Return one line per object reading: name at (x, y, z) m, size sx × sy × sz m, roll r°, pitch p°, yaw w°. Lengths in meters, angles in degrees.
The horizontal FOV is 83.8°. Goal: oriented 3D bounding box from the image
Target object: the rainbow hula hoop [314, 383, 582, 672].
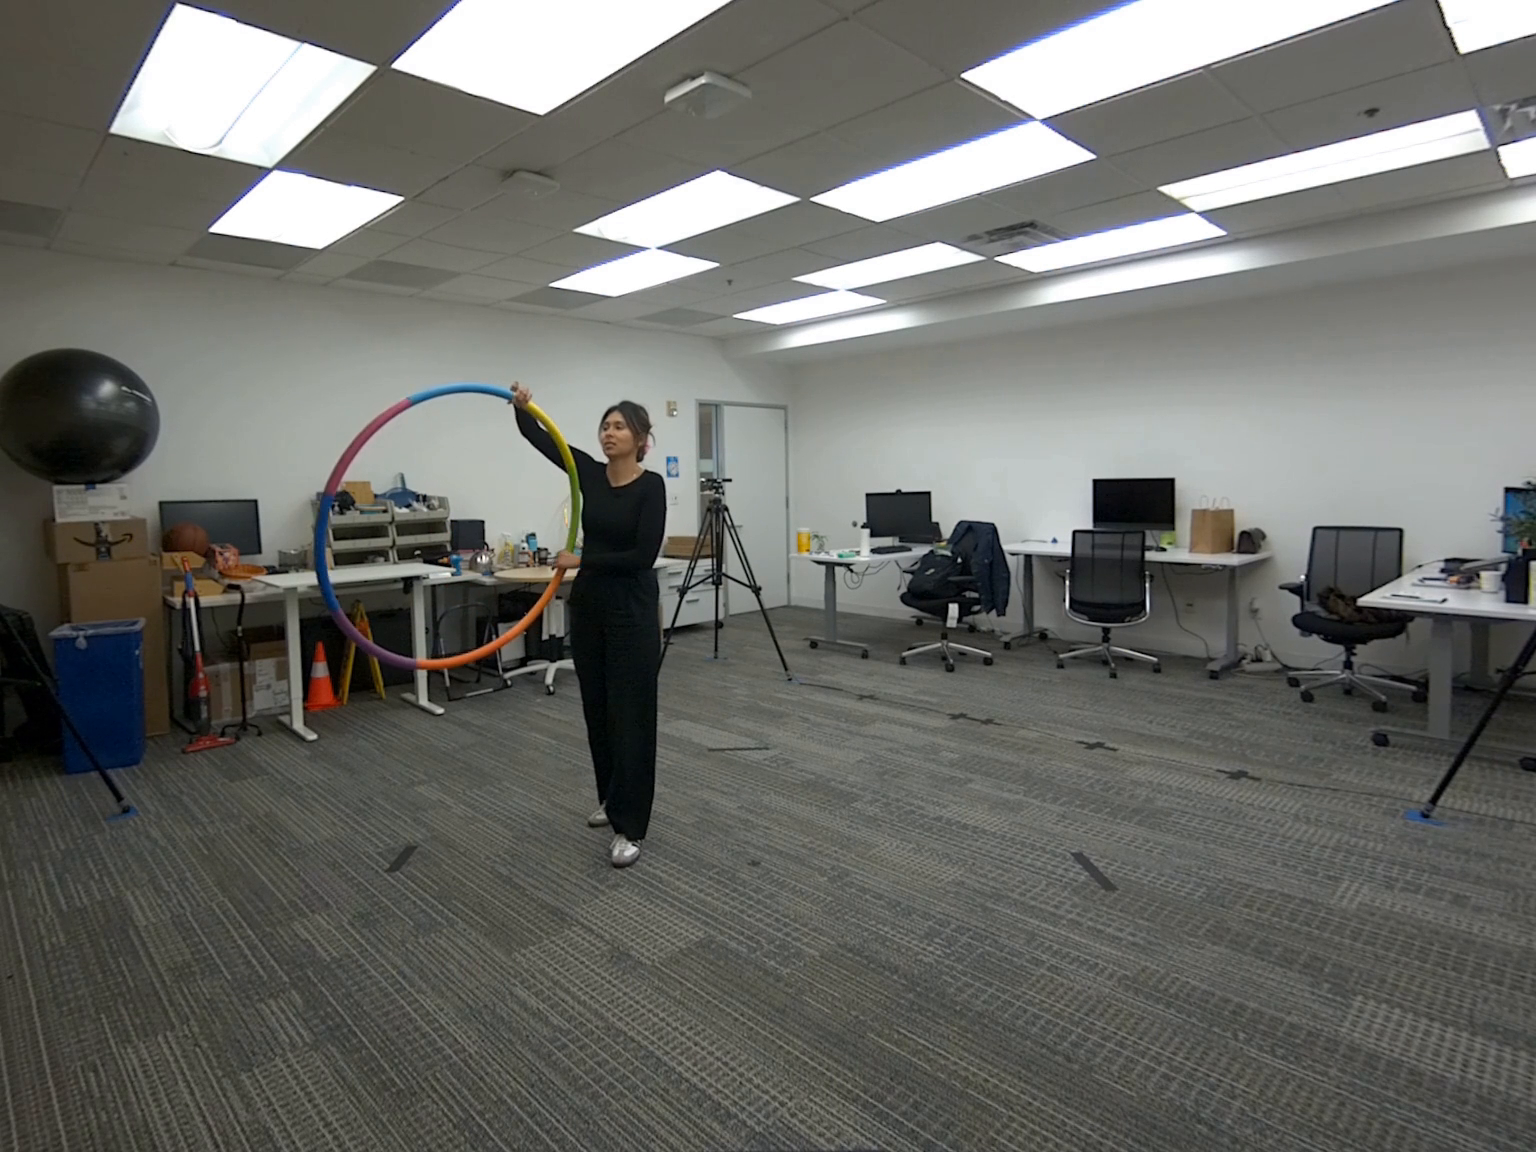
rainbow hula hoop at (-1.032, -0.151, 2.885) m, size 0.053 × 0.976 × 0.960 m, roll 18°, pitch 16°, yaw 39°
